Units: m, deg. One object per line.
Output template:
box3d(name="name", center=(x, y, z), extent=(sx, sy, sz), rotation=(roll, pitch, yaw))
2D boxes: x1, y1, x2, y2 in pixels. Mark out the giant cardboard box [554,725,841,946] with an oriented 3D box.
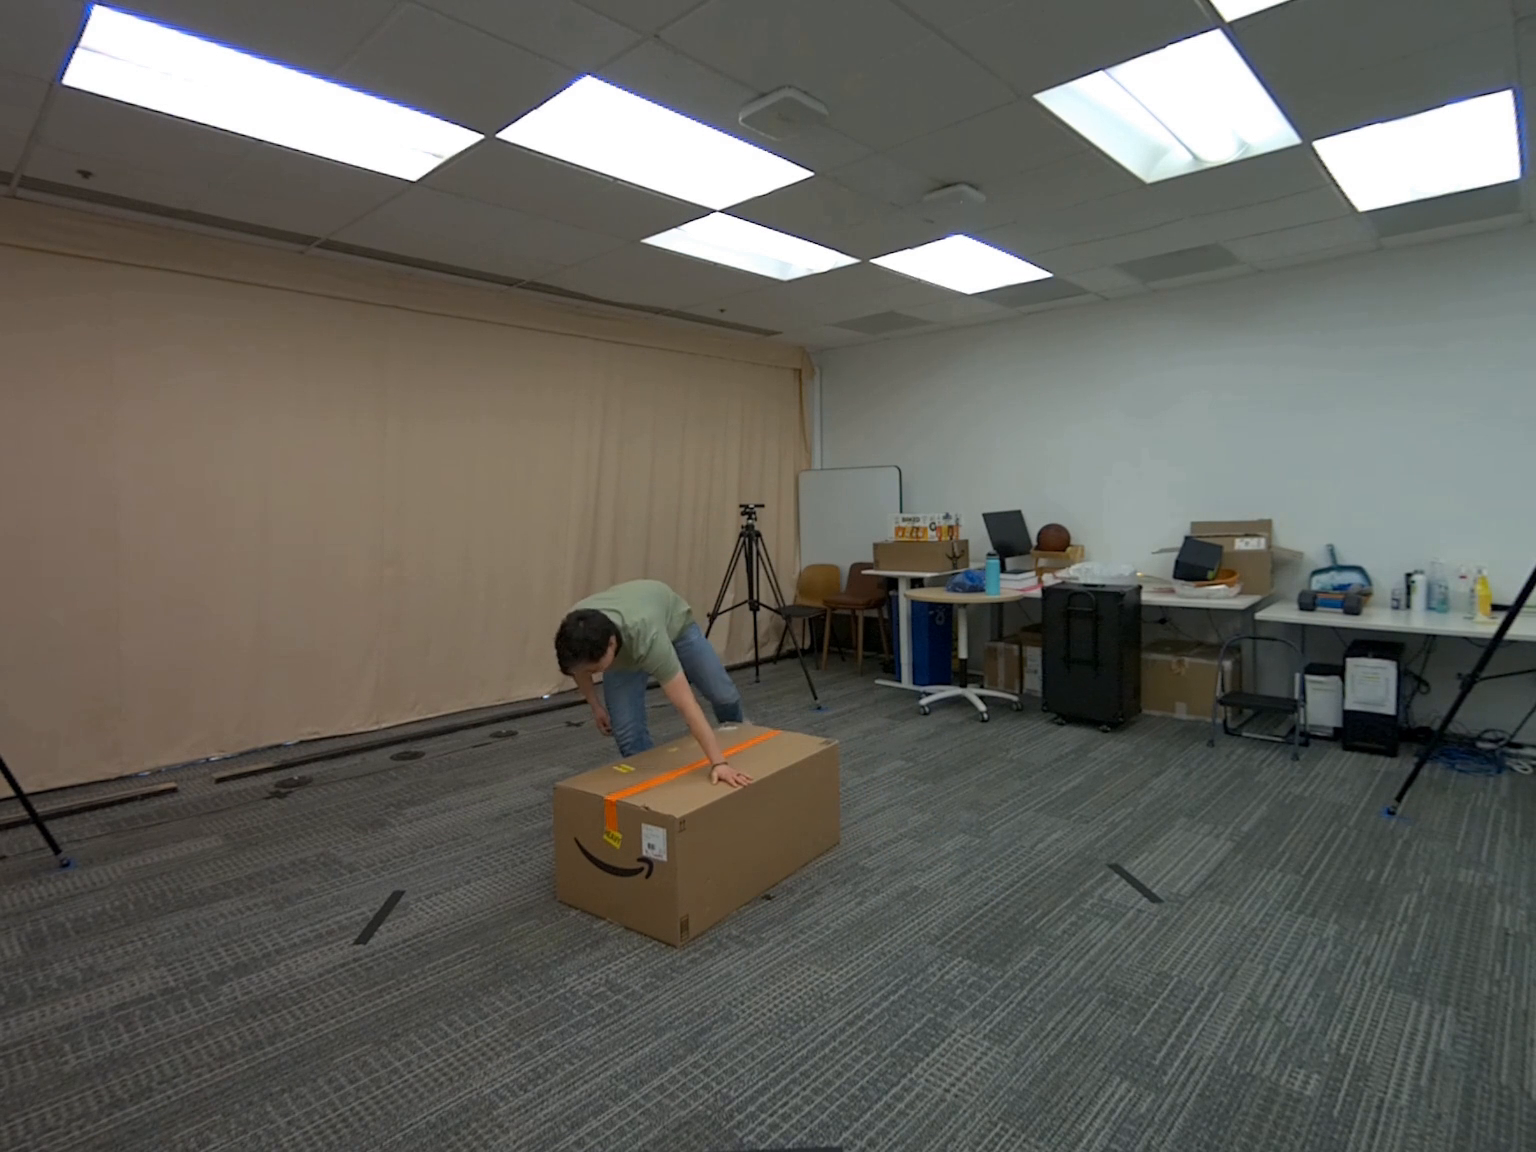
box3d(name="giant cardboard box", center=(-0.223, 0.913, 3.205), extent=(0.595, 0.425, 0.997), rotation=(1, 5, 36))
